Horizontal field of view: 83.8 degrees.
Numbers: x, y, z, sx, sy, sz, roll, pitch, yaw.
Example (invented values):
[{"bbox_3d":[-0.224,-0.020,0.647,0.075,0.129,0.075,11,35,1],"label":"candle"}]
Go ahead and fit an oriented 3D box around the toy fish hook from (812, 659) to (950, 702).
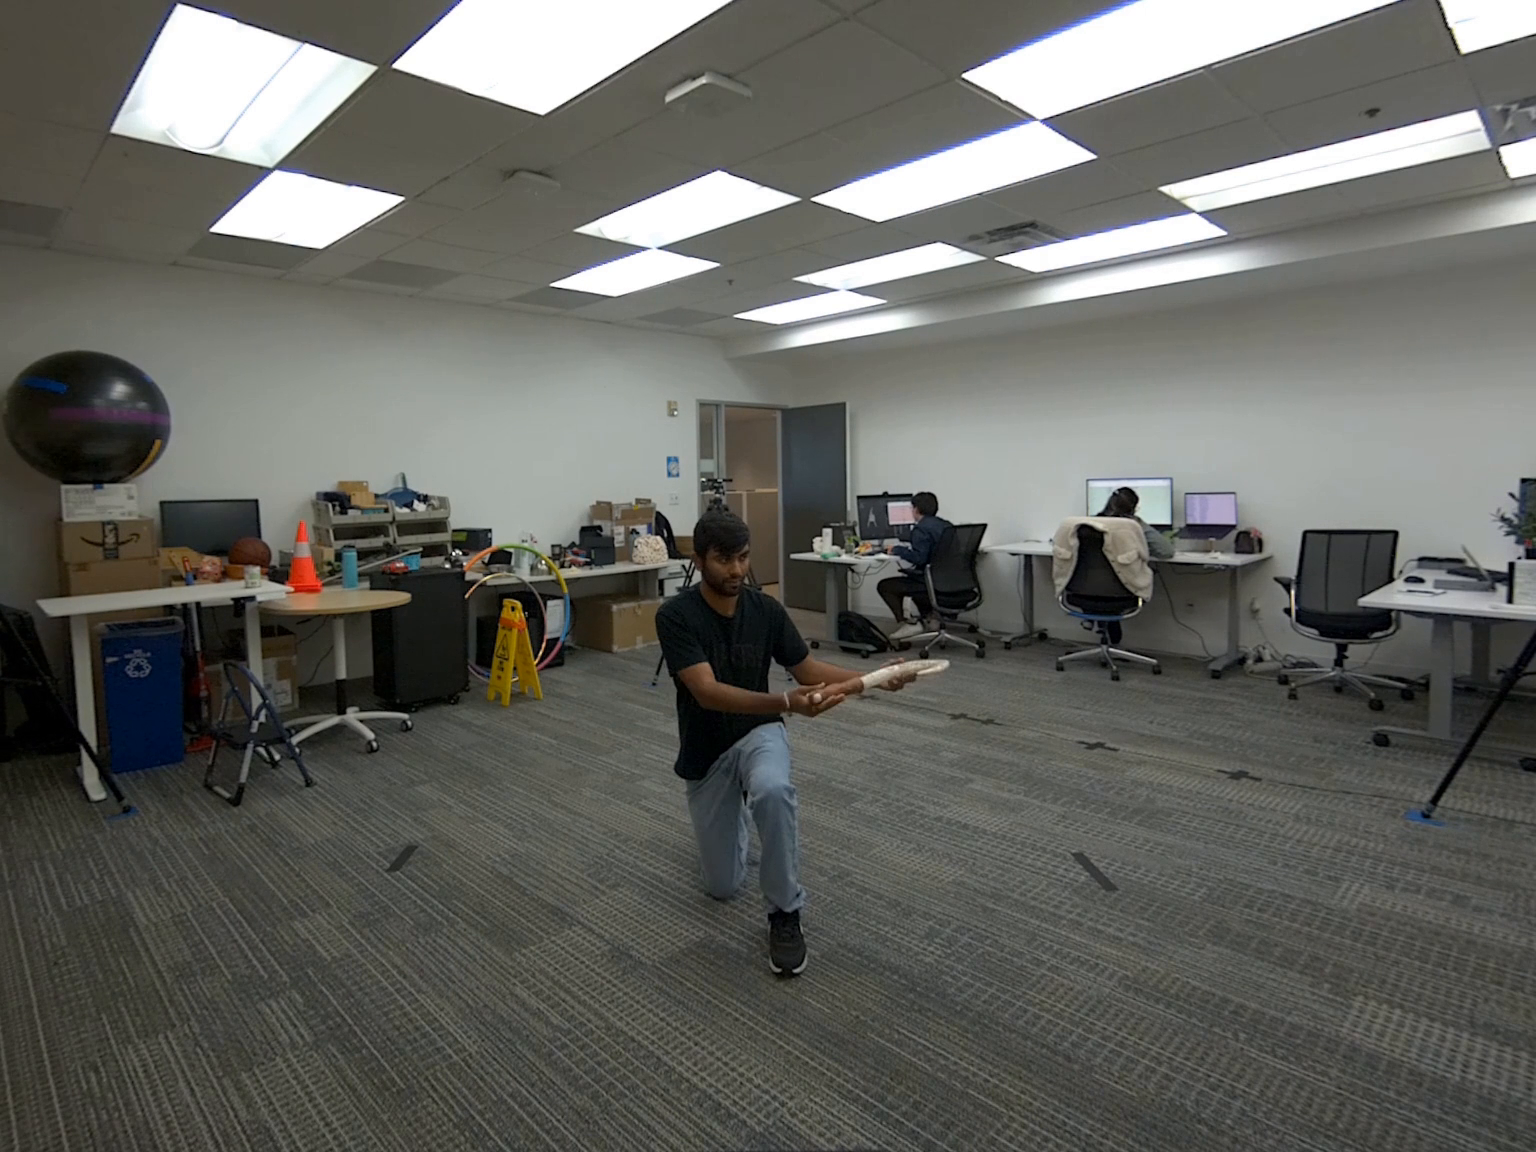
[{"bbox_3d":[0.308,0.303,2.460,0.495,0.049,0.227,-8,-9,-35],"label":"toy fish hook"}]
